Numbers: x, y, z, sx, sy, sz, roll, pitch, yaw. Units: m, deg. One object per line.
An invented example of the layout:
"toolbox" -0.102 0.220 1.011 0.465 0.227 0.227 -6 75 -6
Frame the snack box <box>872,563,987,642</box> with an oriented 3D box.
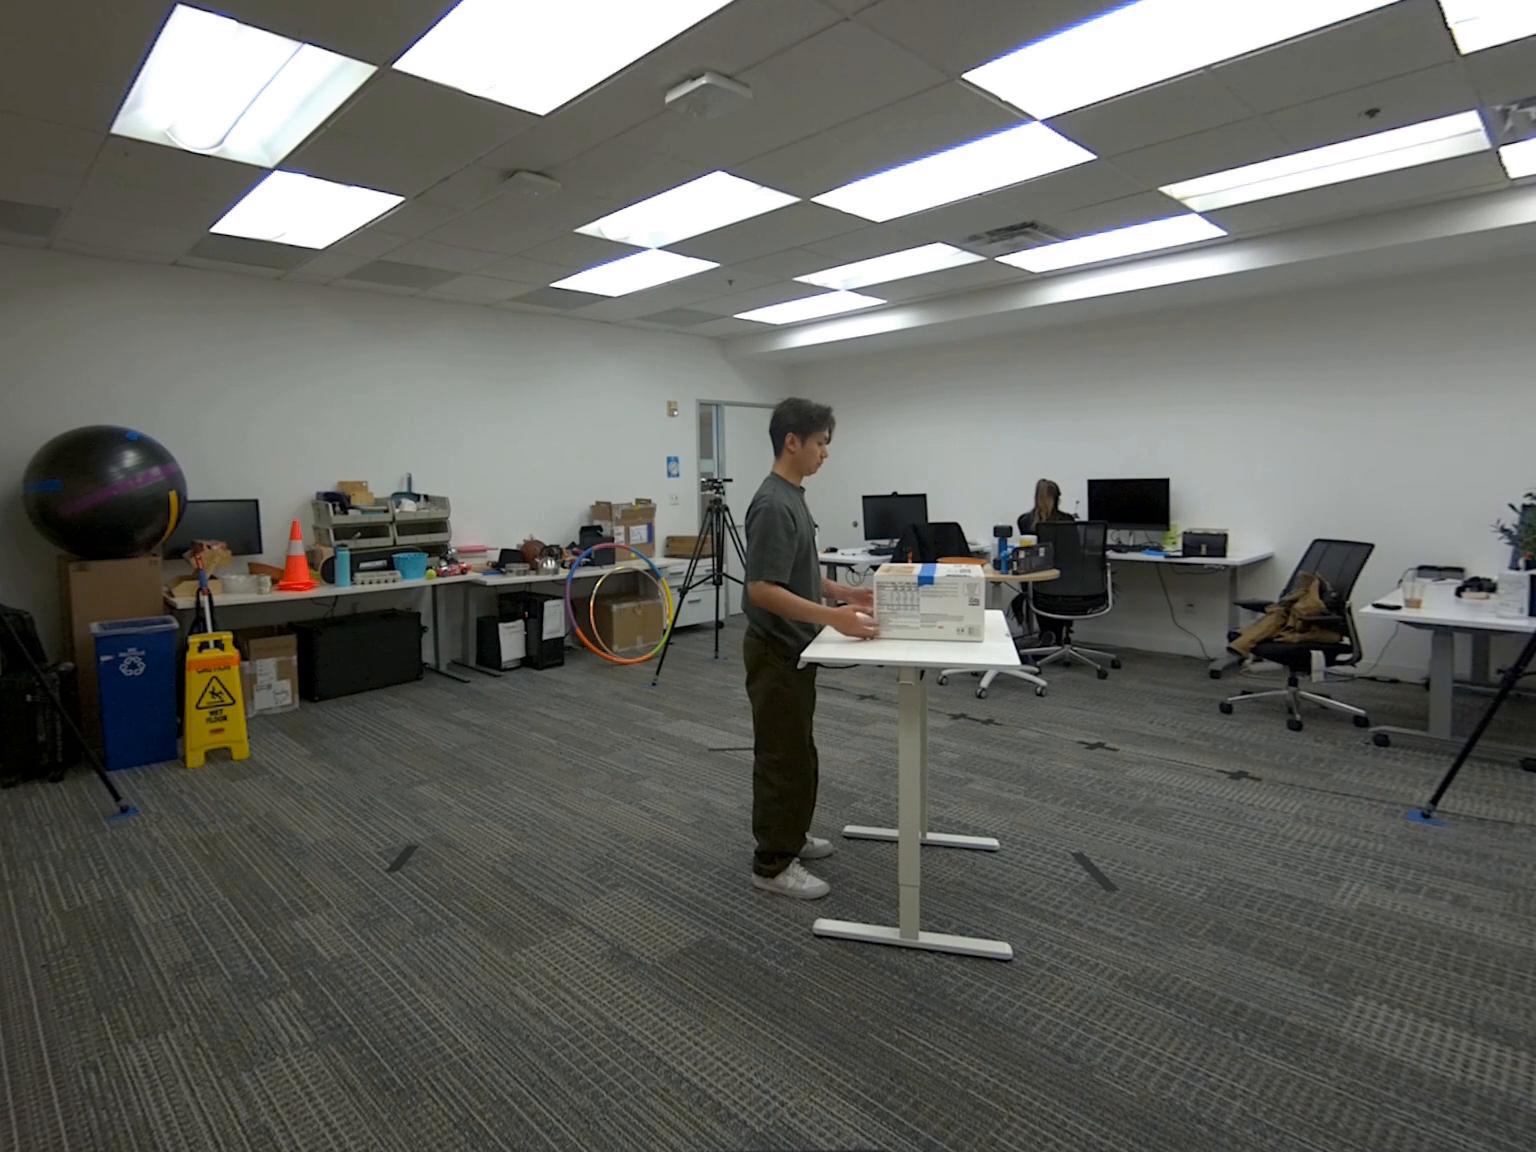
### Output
"snack box" 0.539 0.079 2.851 0.345 0.205 0.401 0 6 13
